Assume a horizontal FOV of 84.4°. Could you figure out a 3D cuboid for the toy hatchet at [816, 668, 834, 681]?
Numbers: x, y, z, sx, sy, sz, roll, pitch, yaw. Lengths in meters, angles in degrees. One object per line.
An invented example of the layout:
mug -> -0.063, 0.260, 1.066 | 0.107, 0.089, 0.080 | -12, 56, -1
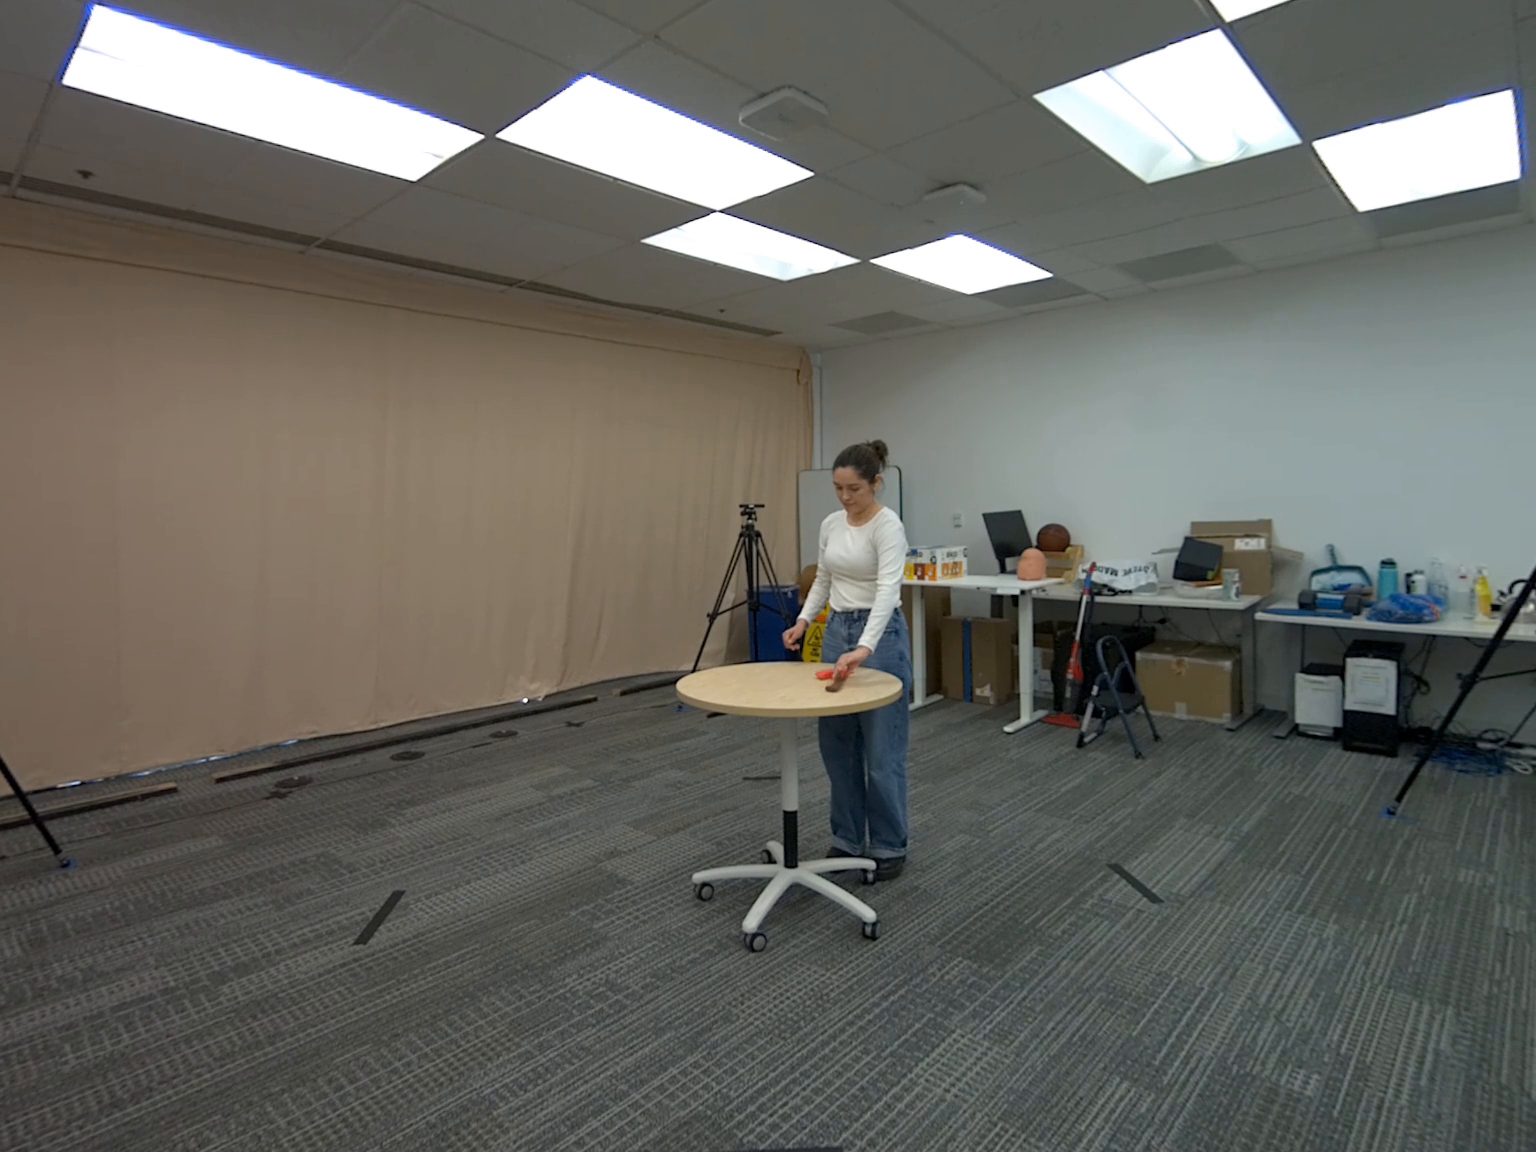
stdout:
toy hatchet -> 0.206, 0.354, 2.836 | 0.134, 0.029, 0.265 | 0, 7, 21
